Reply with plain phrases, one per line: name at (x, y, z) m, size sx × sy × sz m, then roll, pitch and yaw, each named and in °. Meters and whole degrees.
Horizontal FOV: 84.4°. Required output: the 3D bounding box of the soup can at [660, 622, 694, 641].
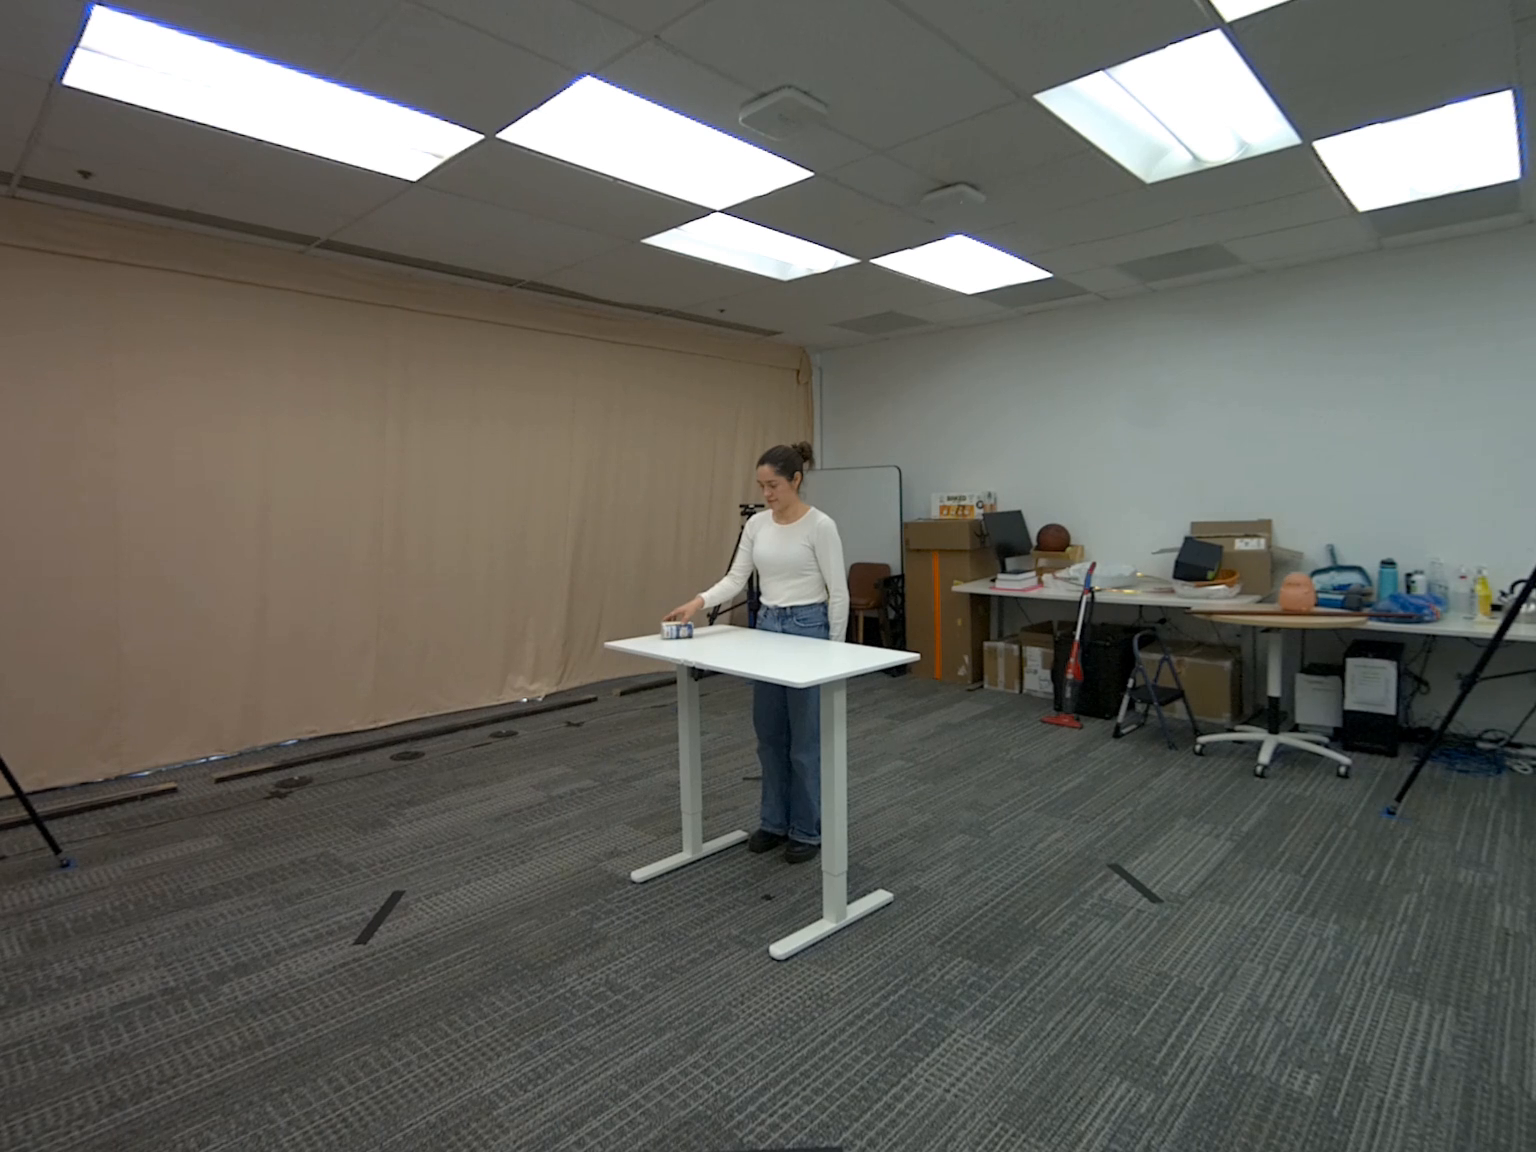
soup can at (-0.346, 0.207, 3.228) m, size 0.120 × 0.067 × 0.068 m, roll -1°, pitch 4°, yaw -8°
